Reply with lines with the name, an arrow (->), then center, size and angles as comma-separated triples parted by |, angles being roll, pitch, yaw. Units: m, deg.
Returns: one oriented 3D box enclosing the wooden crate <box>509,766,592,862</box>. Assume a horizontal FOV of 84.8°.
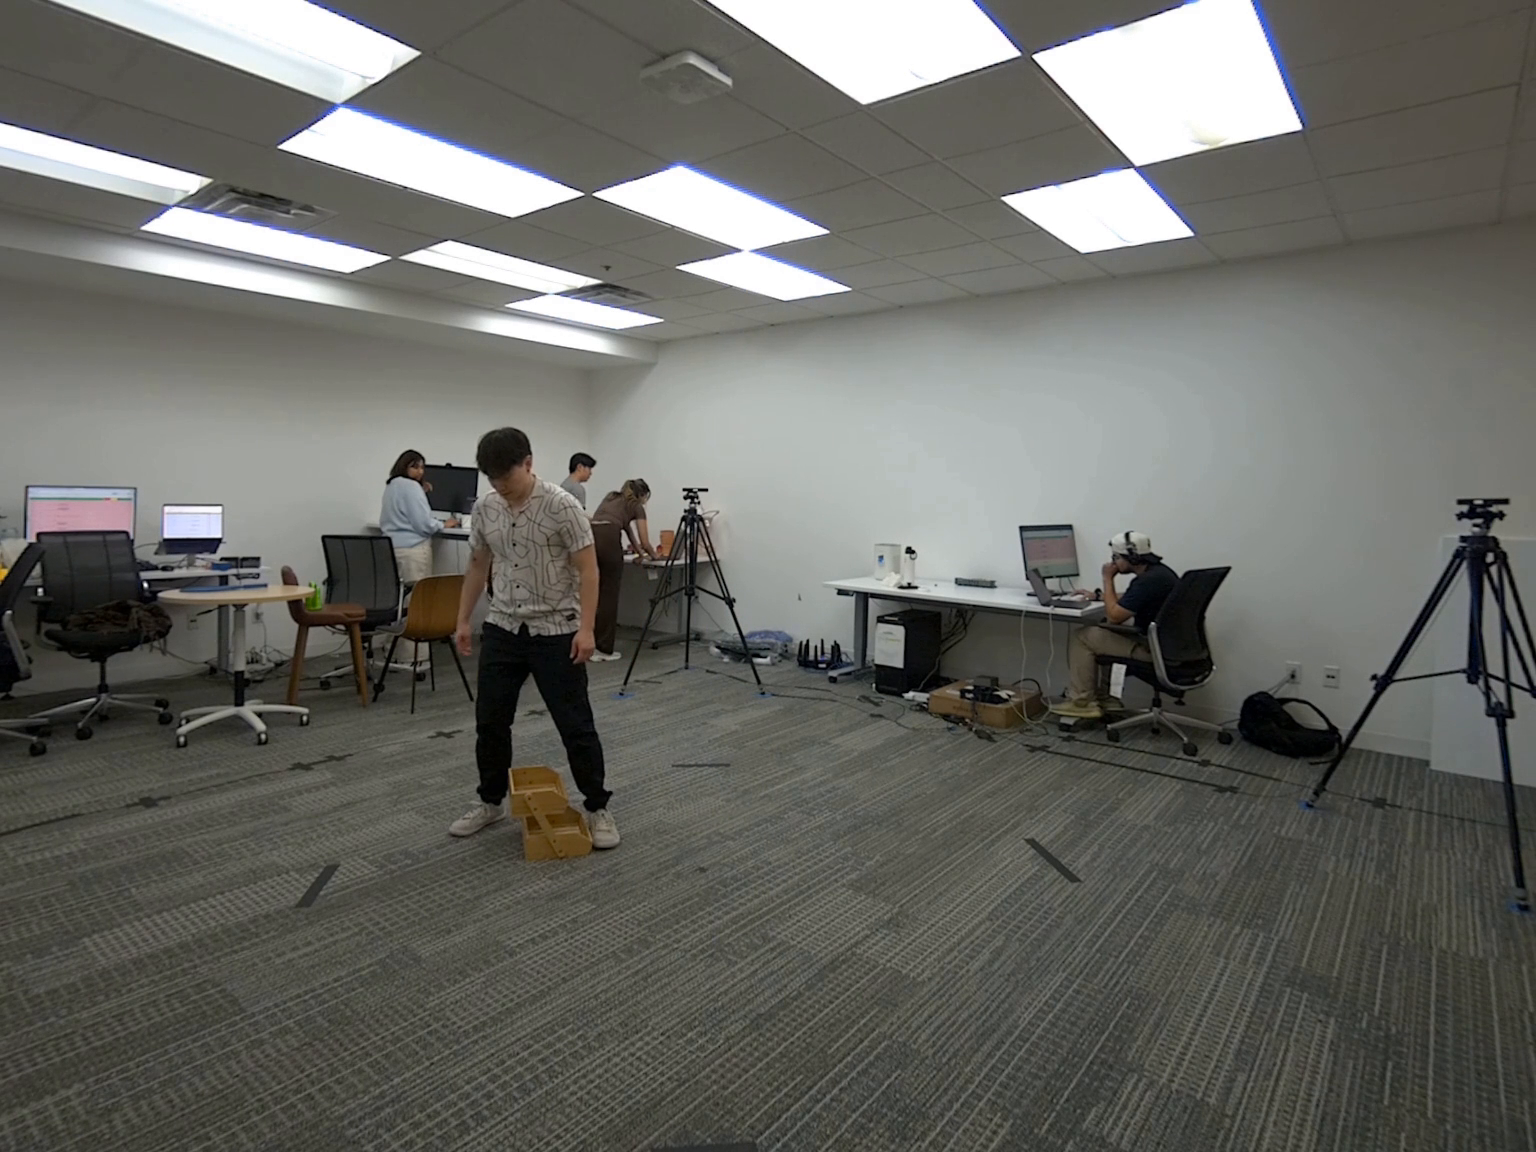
wooden crate -> -0.857, 0.905, 3.312 | 0.296, 0.272, 0.332 | -1, 4, -19
